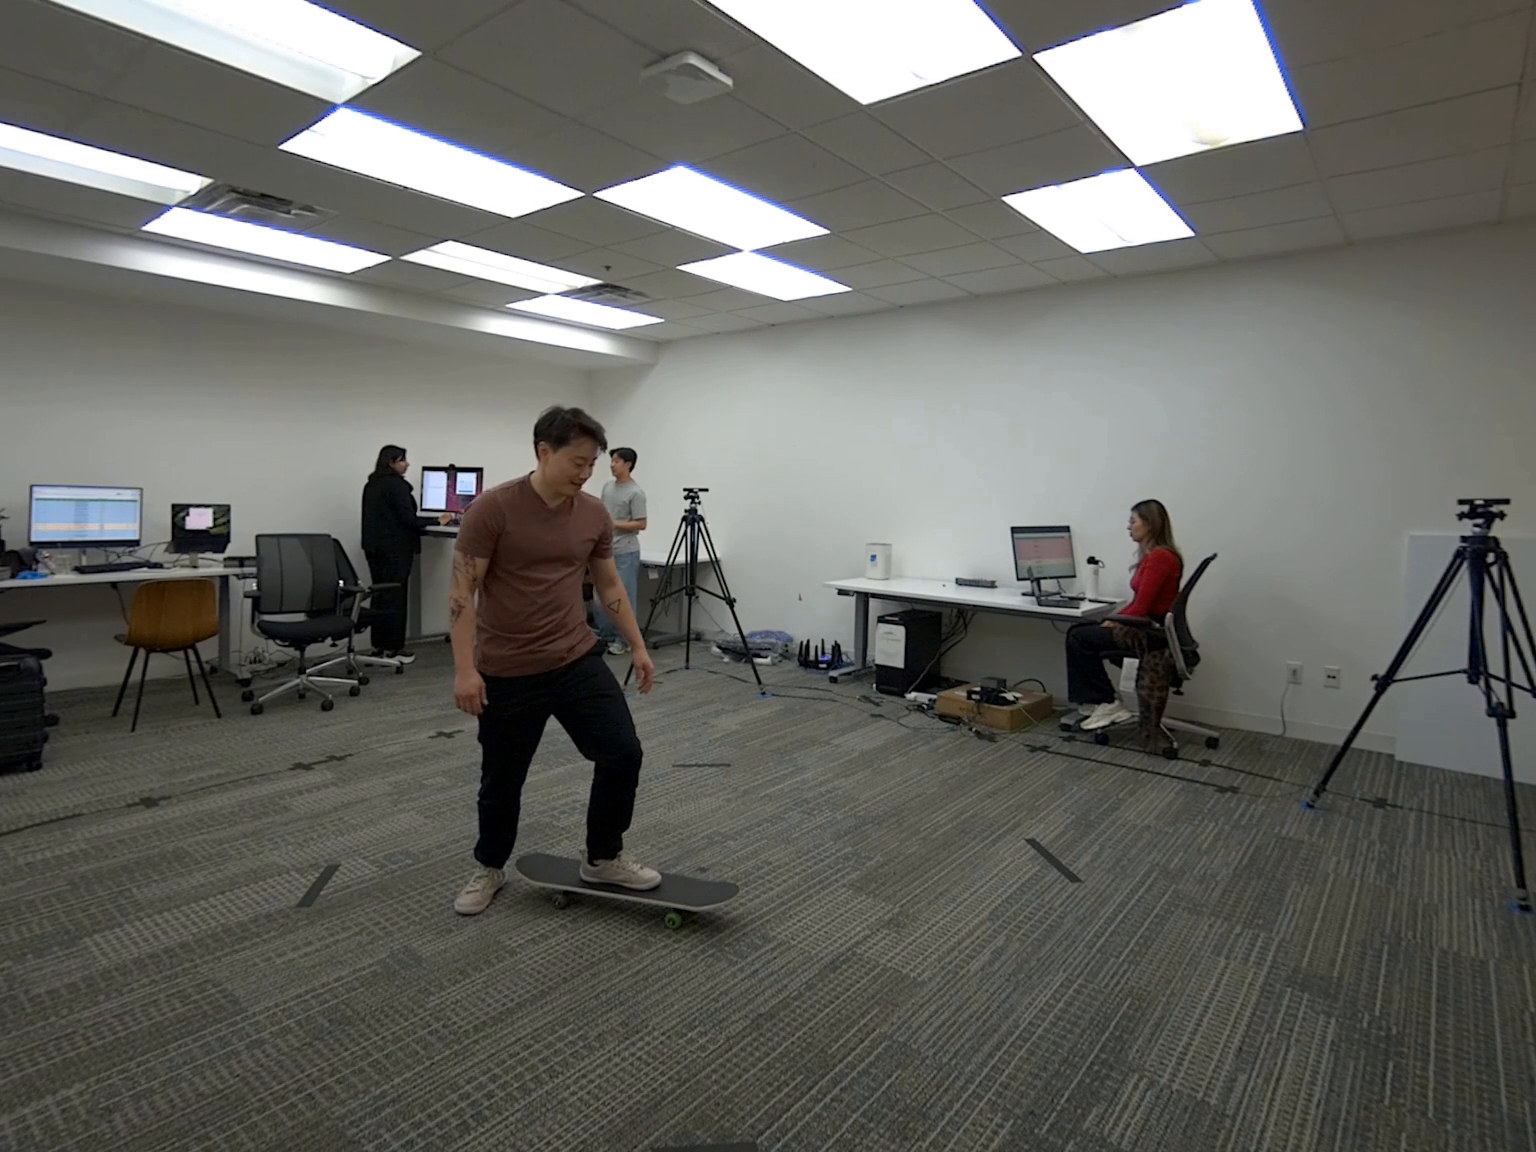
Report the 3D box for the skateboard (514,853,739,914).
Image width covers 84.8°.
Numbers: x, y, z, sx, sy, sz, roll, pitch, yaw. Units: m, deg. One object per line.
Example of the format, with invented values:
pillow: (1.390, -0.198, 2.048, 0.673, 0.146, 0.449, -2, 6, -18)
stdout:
skateboard: (-0.482, 1.040, 2.809, 0.800, 0.110, 0.191, 2, 7, 17)
